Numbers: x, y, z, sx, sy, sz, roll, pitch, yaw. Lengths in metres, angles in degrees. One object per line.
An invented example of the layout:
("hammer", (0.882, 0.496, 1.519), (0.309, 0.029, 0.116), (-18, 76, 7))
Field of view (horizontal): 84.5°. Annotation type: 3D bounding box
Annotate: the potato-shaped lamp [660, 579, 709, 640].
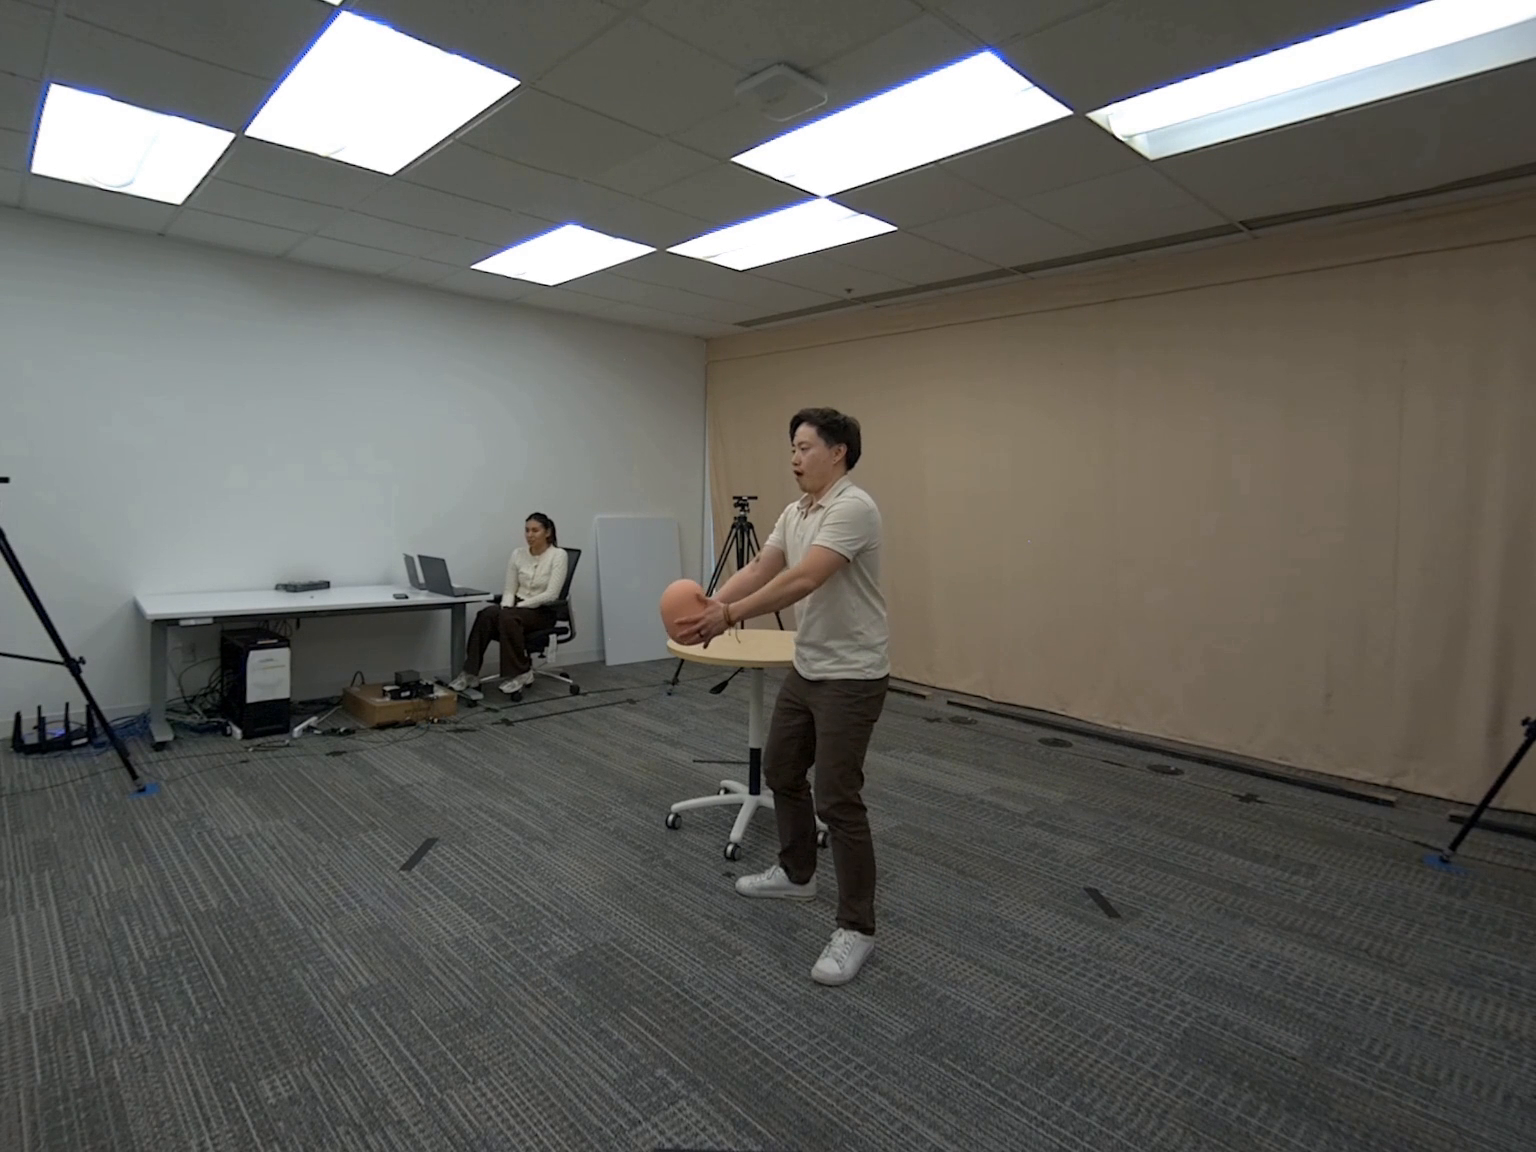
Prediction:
("potato-shaped lamp", (-0.240, 0.106, 2.557), (0.169, 0.196, 0.168), (-16, 12, -20))
